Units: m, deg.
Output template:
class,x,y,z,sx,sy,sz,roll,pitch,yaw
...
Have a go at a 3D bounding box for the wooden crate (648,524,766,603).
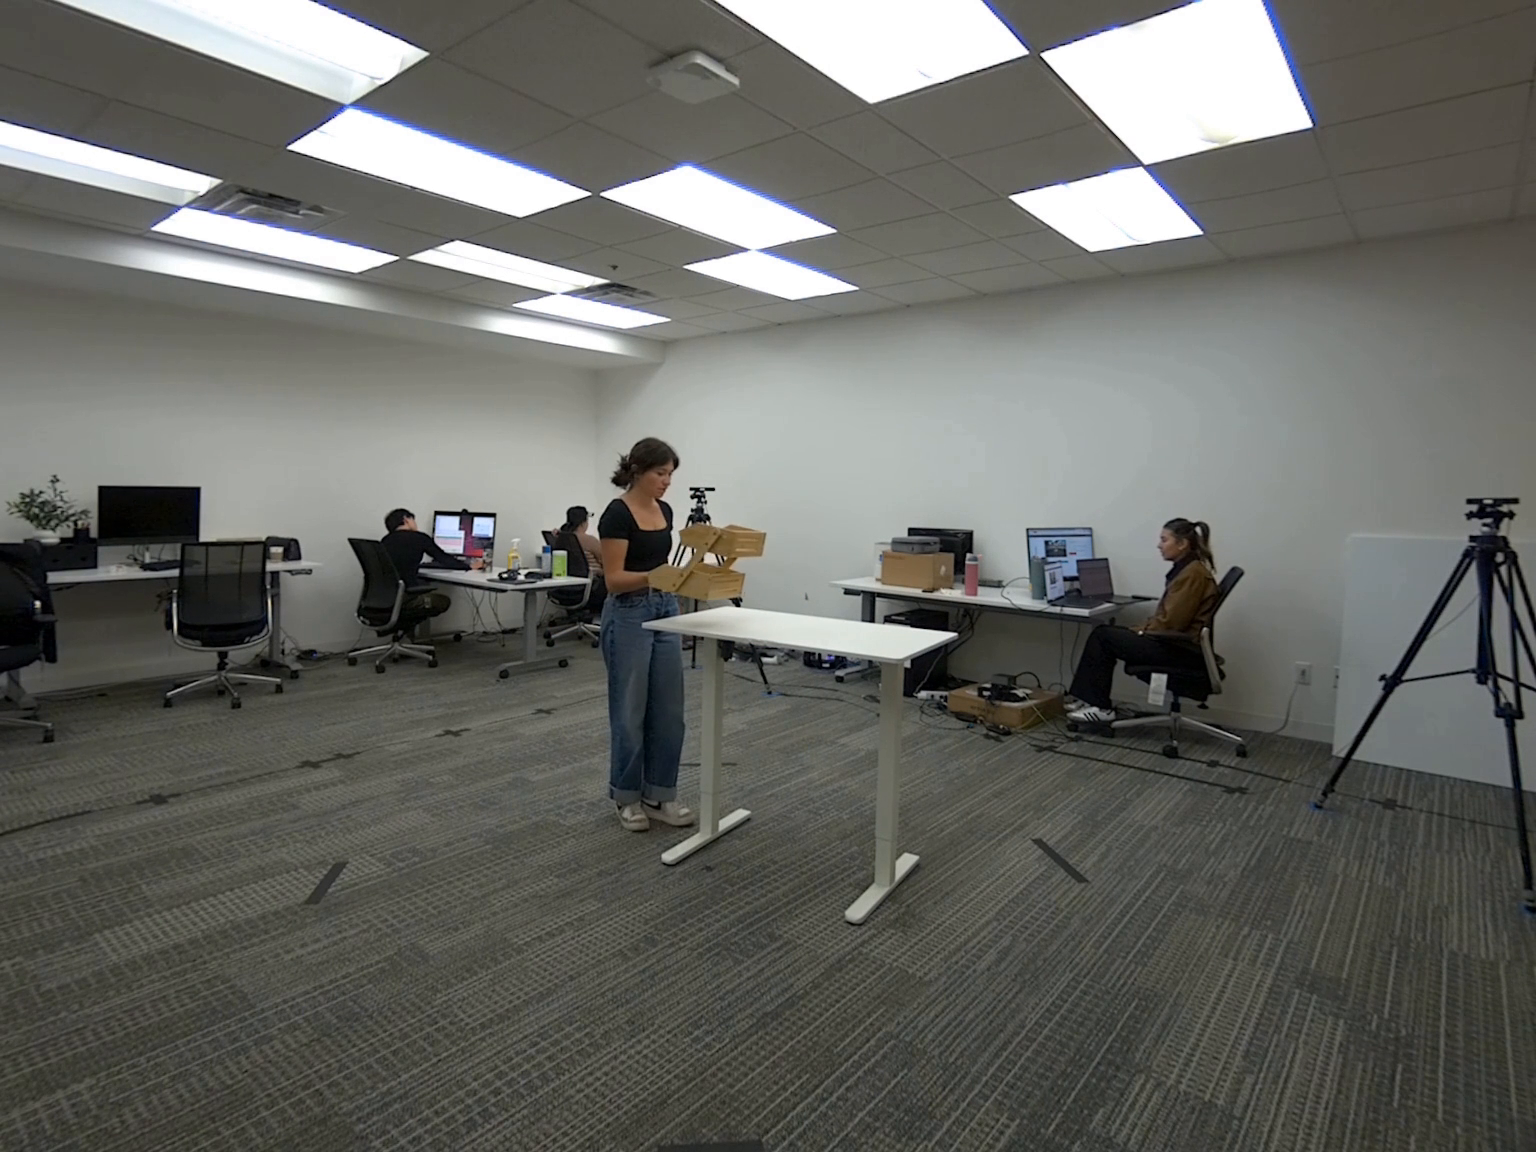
class,x,y,z,sx,sy,sz,roll,pitch,yaw
wooden crate,-0.236,-0.070,3.106,0.311,0.272,0.316,14,7,23
